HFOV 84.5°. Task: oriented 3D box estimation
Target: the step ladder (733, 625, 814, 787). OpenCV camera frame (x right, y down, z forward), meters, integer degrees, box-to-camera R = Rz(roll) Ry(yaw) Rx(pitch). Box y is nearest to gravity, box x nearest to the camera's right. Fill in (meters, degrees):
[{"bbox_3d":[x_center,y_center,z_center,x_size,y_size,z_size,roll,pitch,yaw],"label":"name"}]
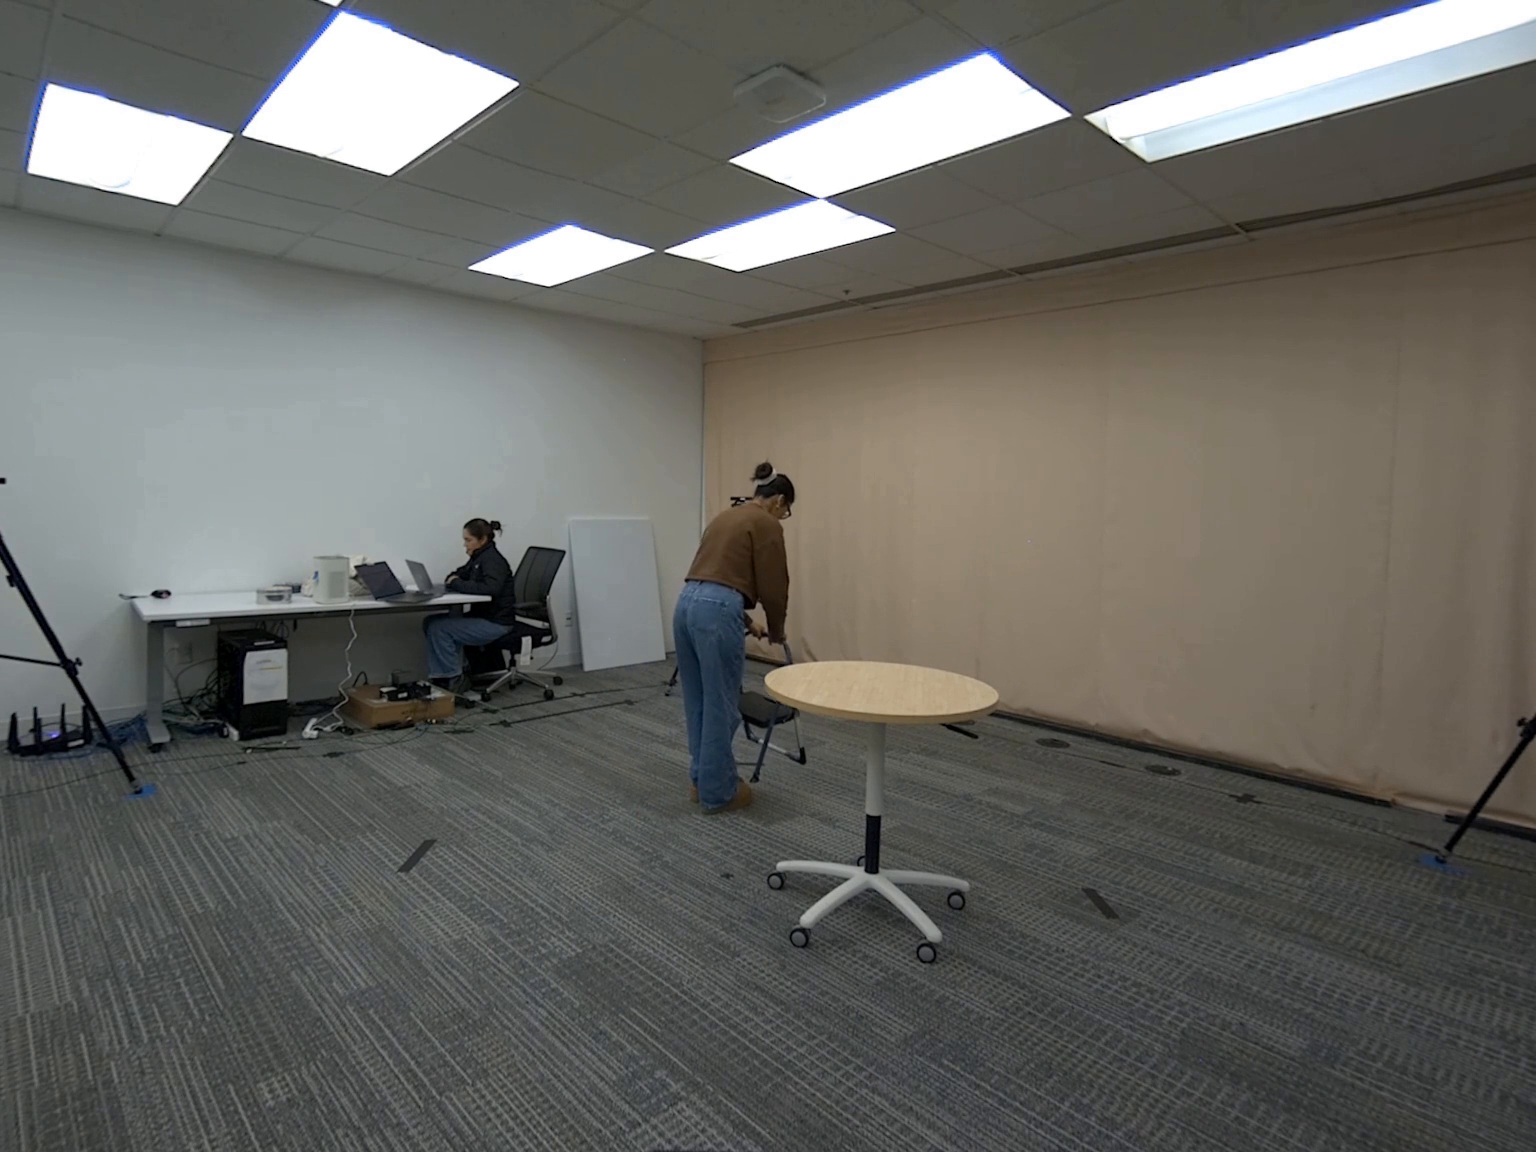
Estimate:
[{"bbox_3d":[-0.073,0.583,3.982,0.342,0.602,0.442,-7,13,-42],"label":"step ladder"}]
